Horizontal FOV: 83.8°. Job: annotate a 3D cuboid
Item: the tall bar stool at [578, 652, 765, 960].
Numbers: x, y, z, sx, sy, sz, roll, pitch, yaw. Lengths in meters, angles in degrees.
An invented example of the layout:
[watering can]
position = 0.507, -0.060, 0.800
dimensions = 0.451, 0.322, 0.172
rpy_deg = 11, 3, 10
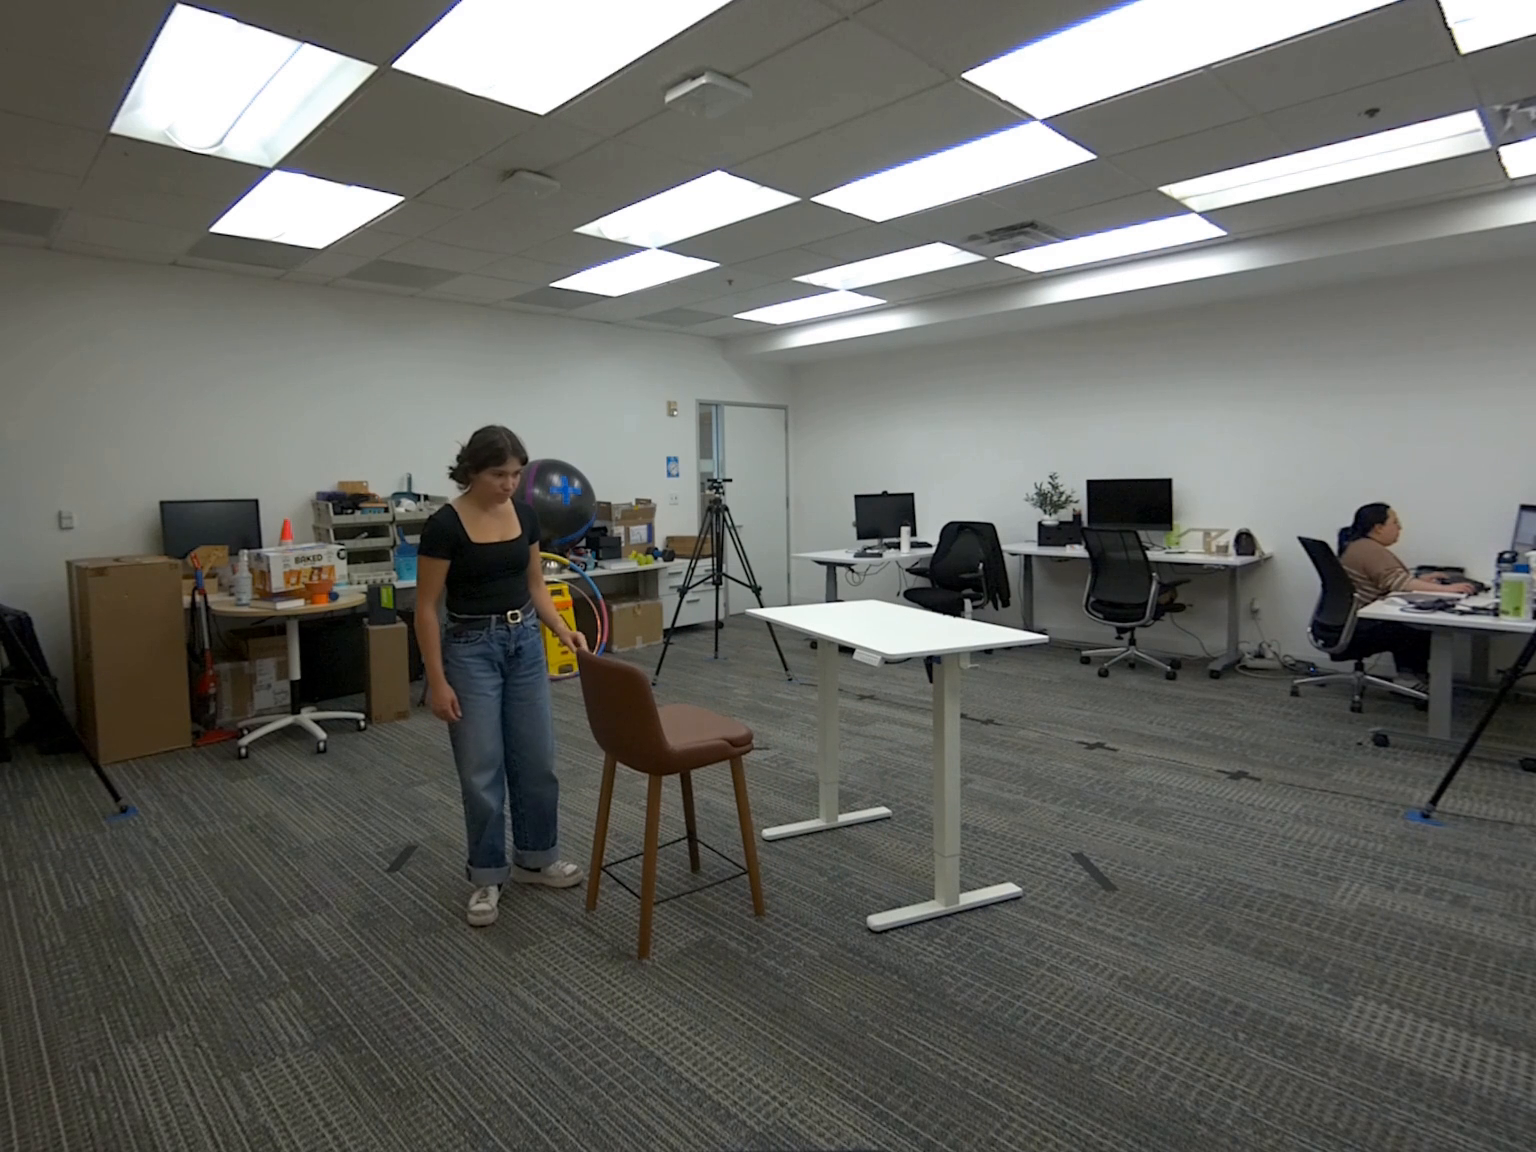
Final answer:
[tall bar stool]
position = -0.319, 0.653, 2.738
dimensions = 0.456, 0.885, 0.470
rpy_deg = -7, 7, -36
